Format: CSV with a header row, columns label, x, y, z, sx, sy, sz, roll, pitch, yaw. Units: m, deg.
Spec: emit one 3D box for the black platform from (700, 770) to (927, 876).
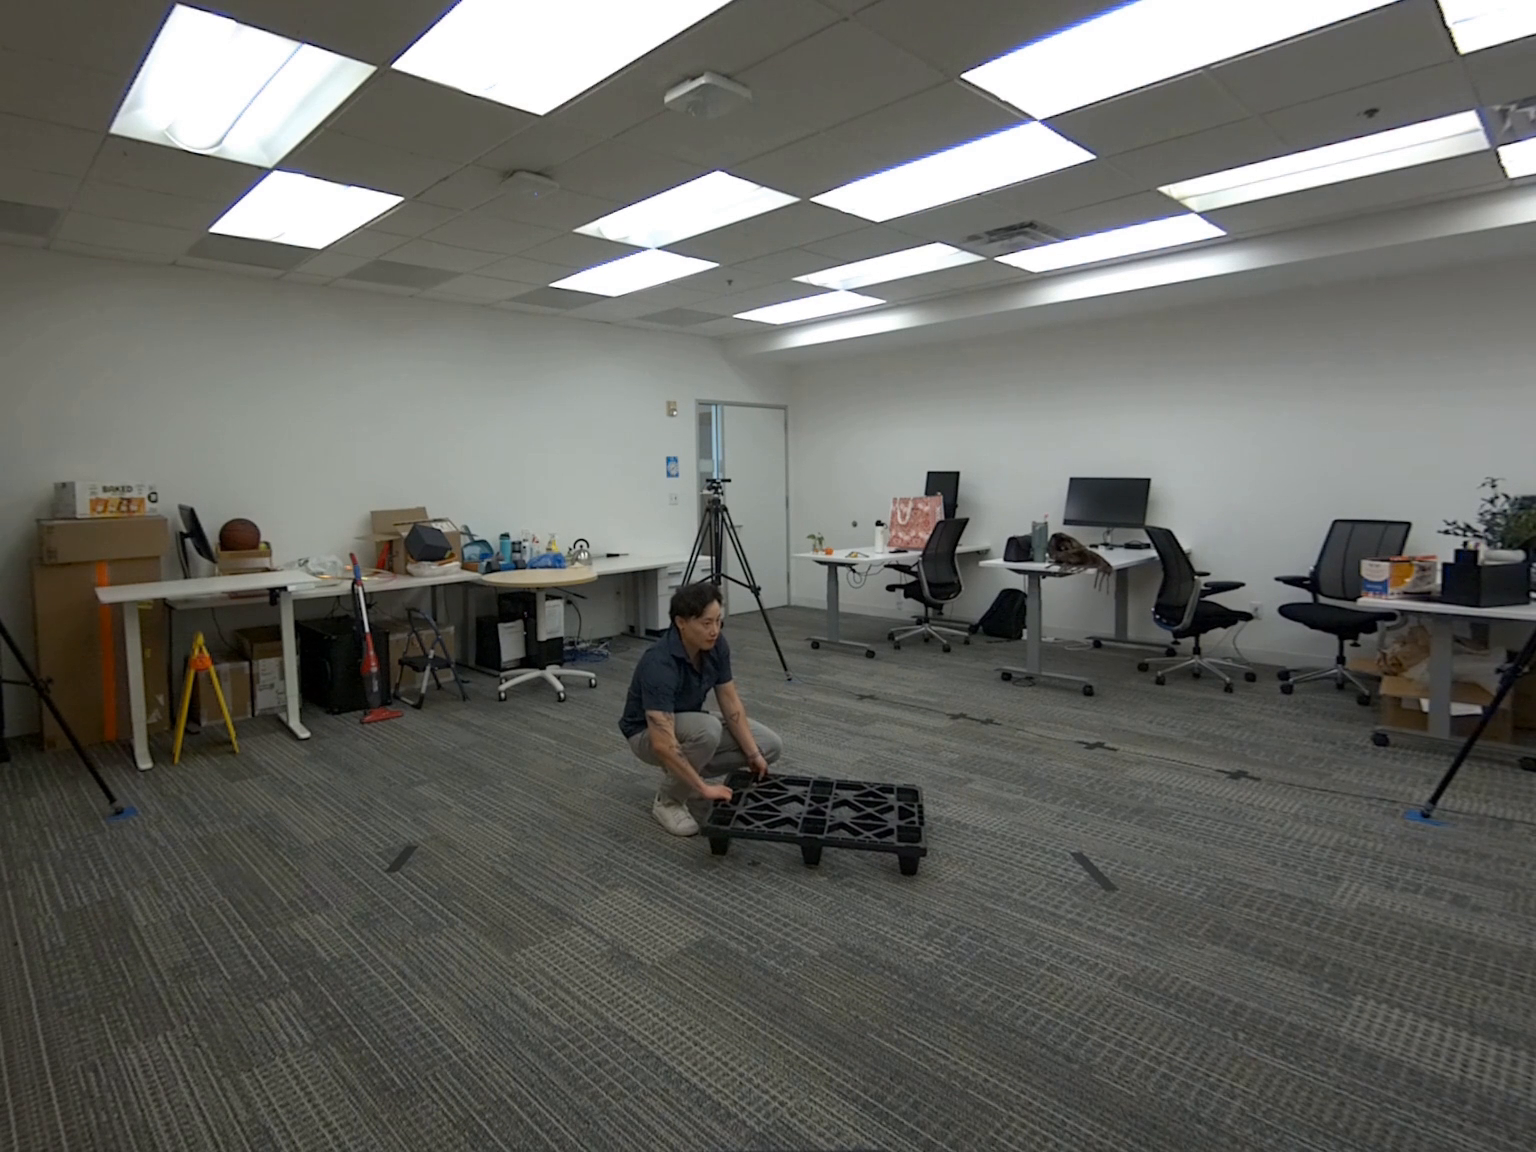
label,x,y,z,sx,sy,sz,roll,pitch,yaw
black platform,0.192,0.944,3.284,0.814,0.143,0.601,2,6,10
